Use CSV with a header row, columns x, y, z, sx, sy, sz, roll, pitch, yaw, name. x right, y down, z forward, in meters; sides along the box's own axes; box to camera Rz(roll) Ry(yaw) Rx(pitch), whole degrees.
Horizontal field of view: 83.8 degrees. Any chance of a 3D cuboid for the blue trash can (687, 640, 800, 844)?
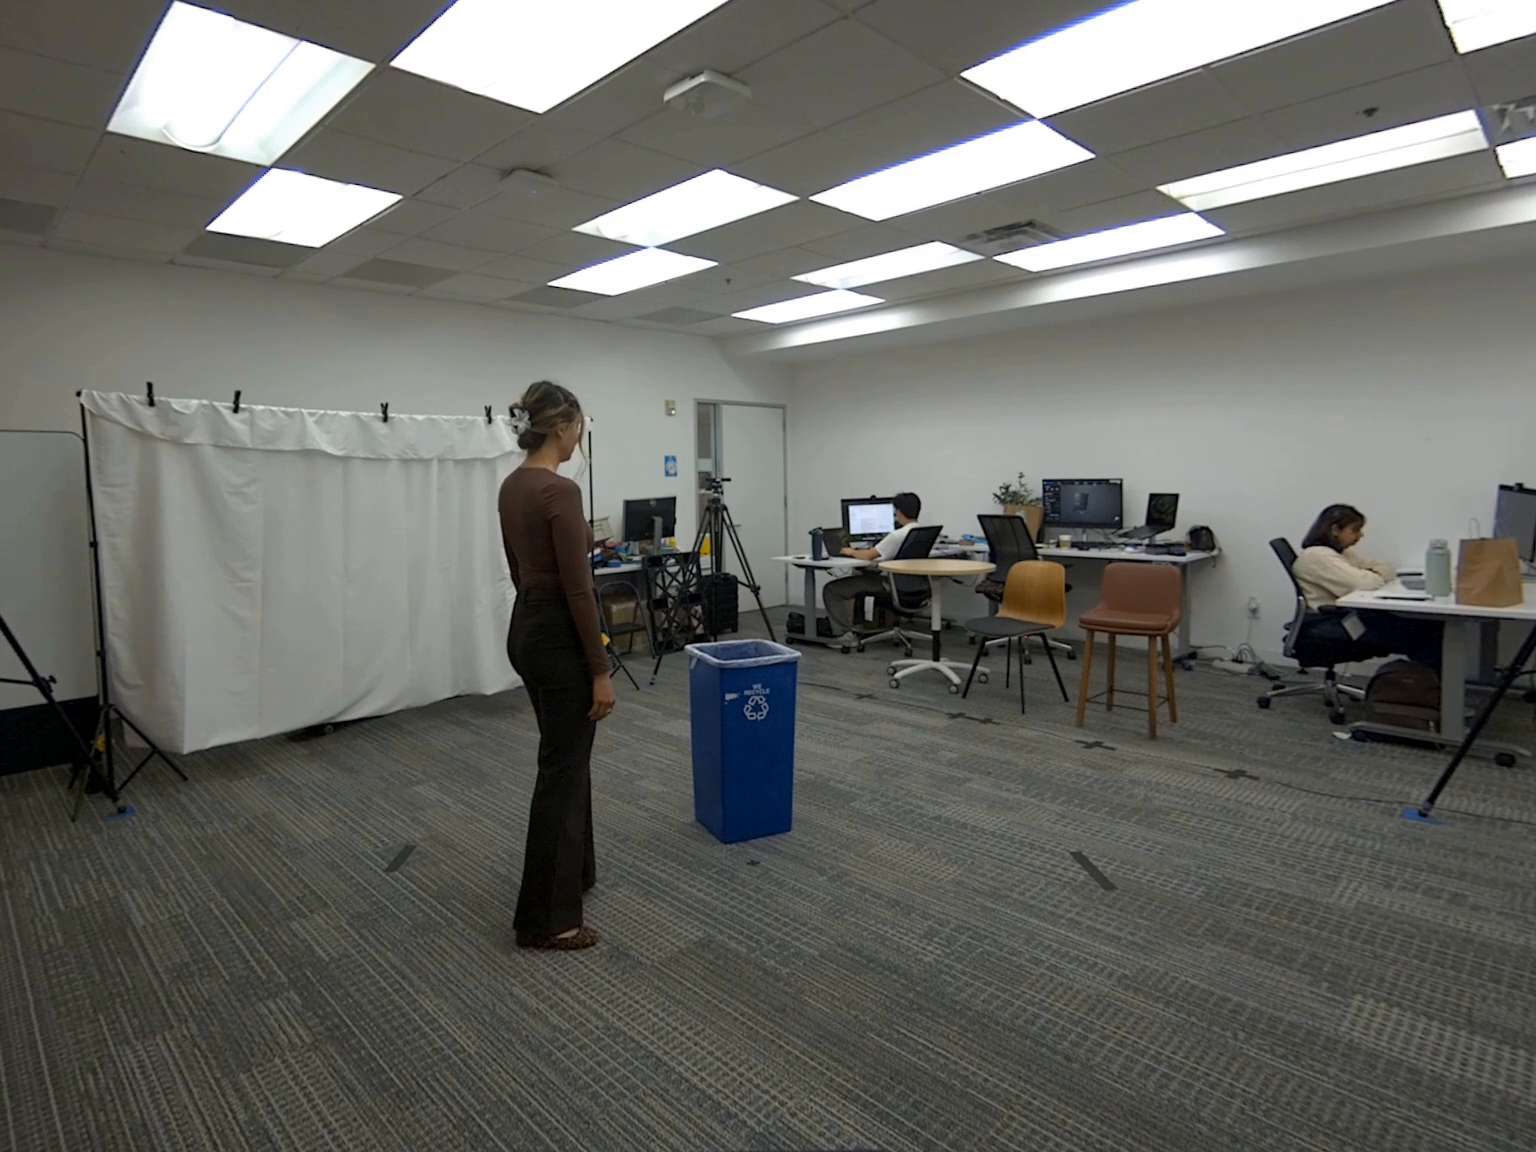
x,y,z,sx,sy,sz,roll,pitch,yaw,name
-0.100,0.646,3.439,0.366,0.711,0.388,-3,5,-27,blue trash can
